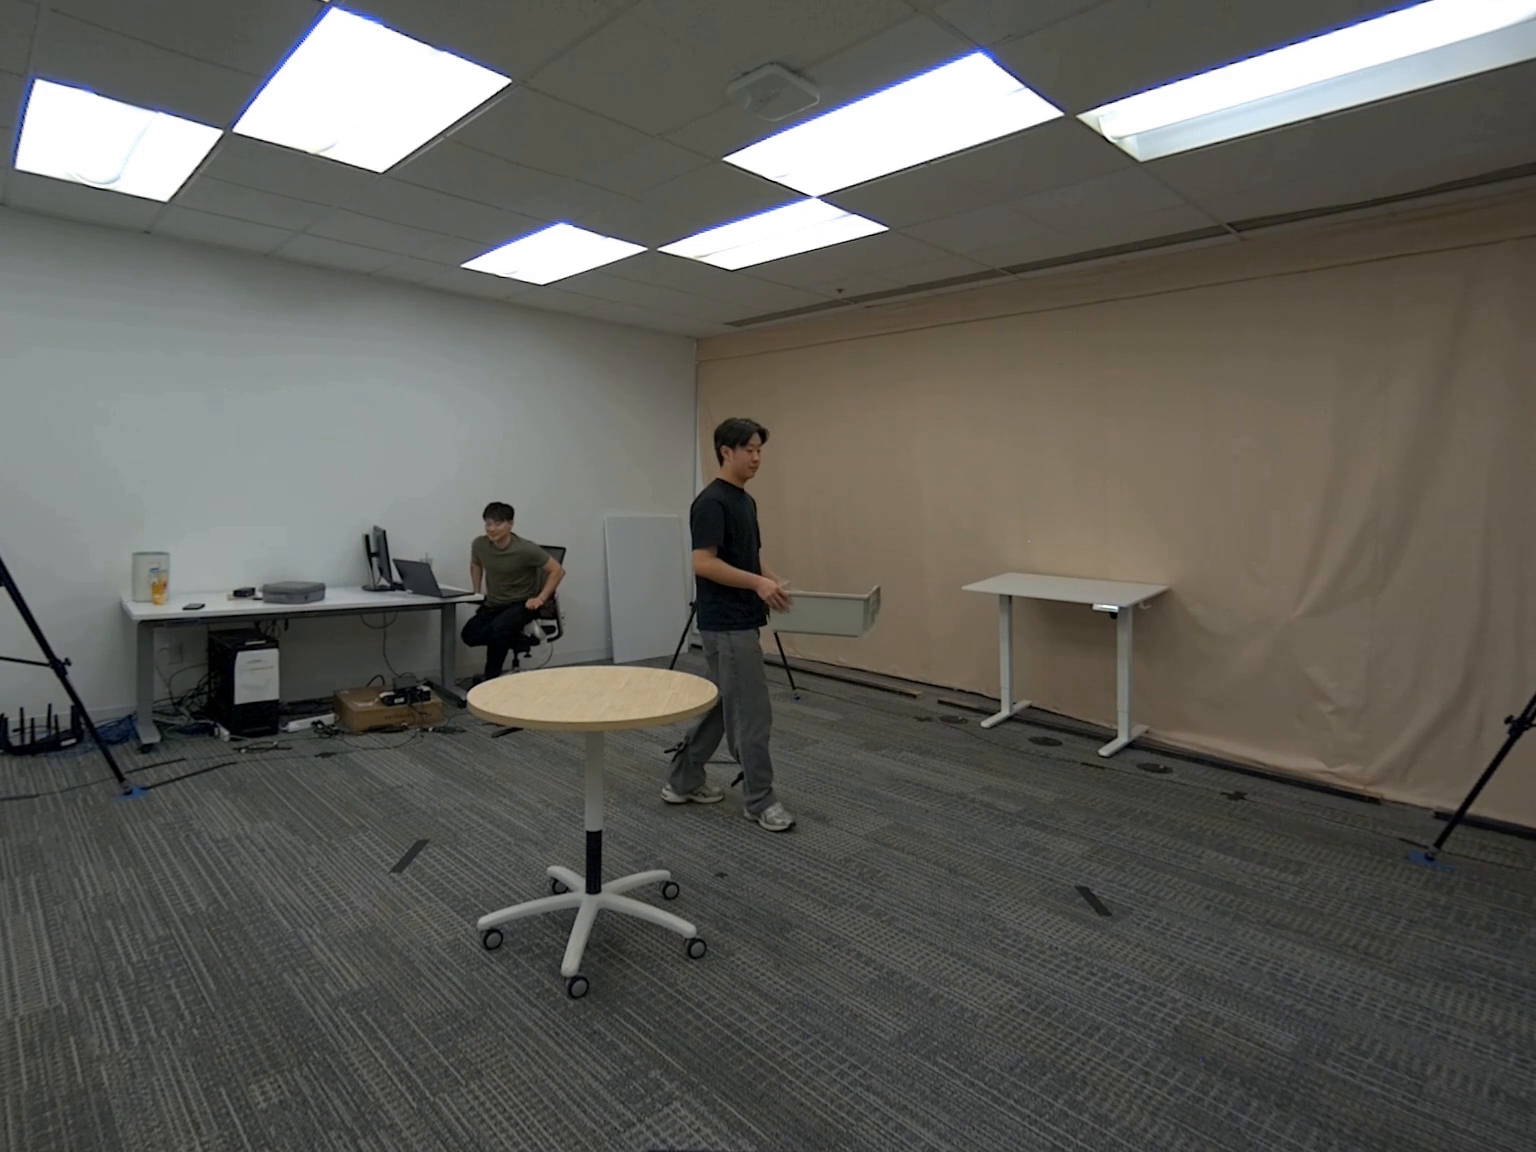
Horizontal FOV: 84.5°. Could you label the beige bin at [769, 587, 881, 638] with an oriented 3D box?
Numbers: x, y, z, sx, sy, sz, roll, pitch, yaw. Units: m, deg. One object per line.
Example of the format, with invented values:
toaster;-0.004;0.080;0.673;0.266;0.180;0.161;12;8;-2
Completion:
beige bin;0.249;0.128;3.574;0.429;0.188;0.373;3;9;20
